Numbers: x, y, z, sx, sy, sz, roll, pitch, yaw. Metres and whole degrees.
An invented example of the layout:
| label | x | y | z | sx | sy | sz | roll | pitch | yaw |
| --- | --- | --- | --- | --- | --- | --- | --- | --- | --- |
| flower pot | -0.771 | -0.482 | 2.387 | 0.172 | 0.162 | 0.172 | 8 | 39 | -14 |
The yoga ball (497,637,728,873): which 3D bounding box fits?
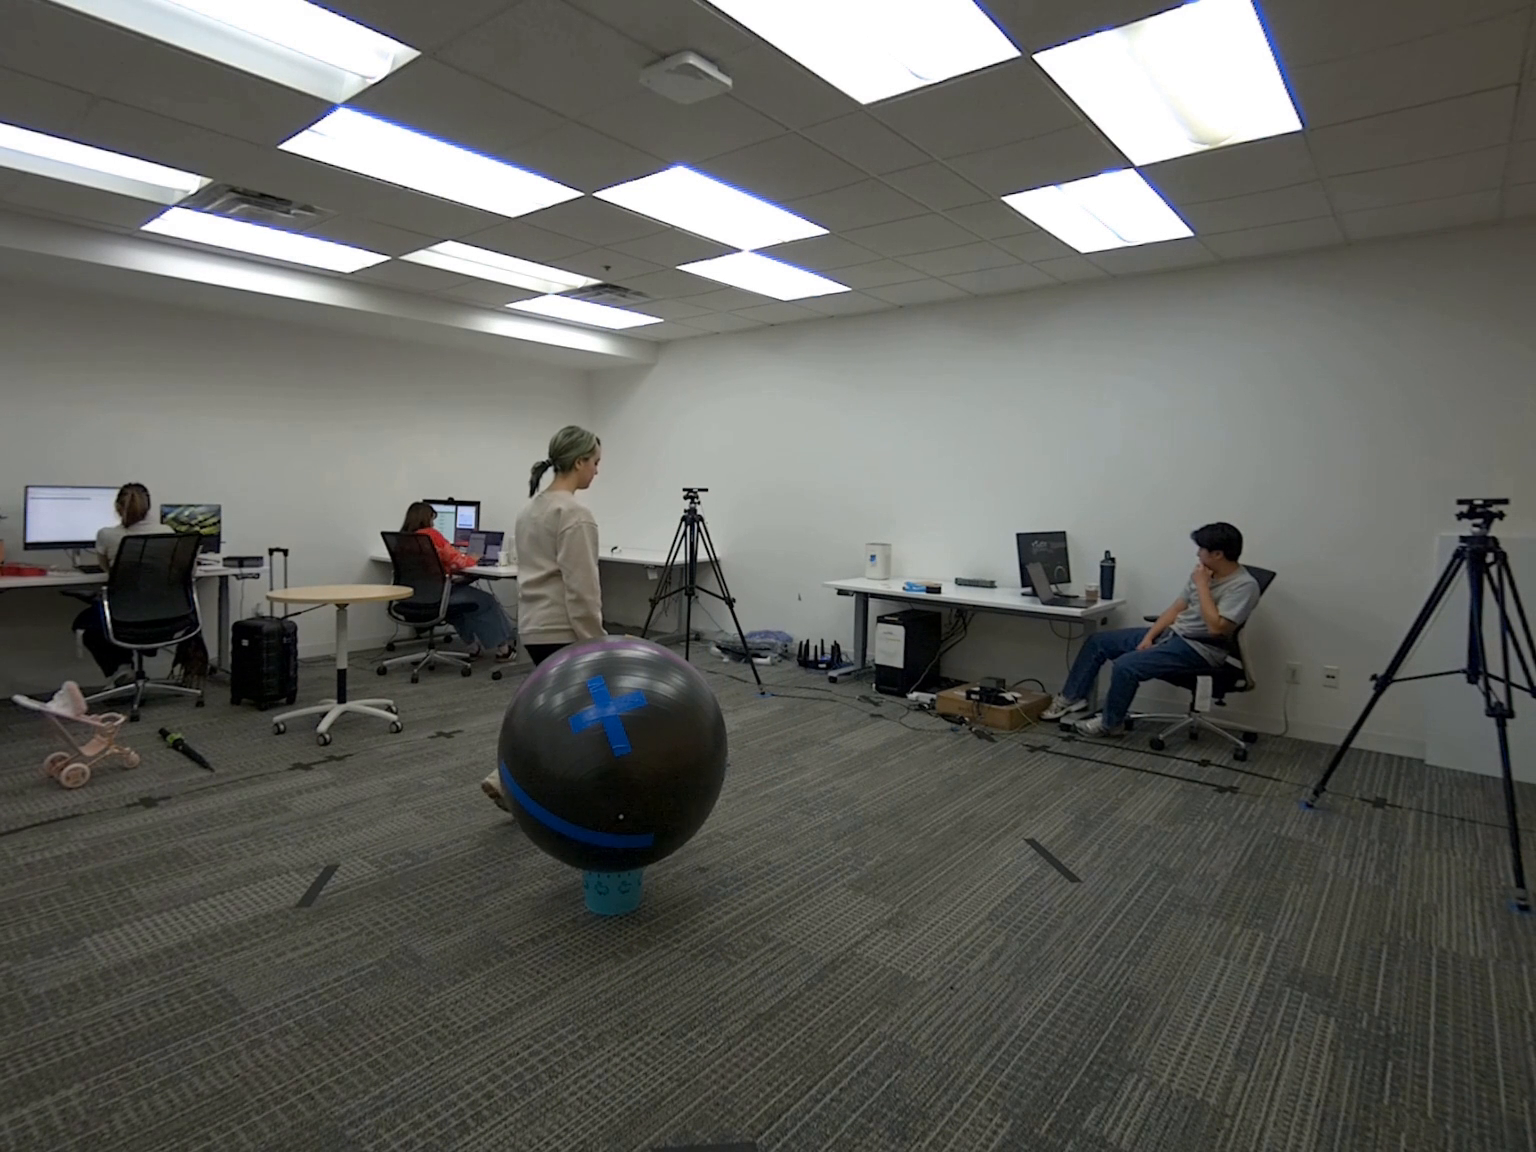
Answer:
| label | x | y | z | sx | sy | sz | roll | pitch | yaw |
| --- | --- | --- | --- | --- | --- | --- | --- | --- | --- |
| yoga ball | -0.521 | 0.581 | 2.828 | 0.757 | 0.755 | 0.762 | 1 | 4 | -2 |
